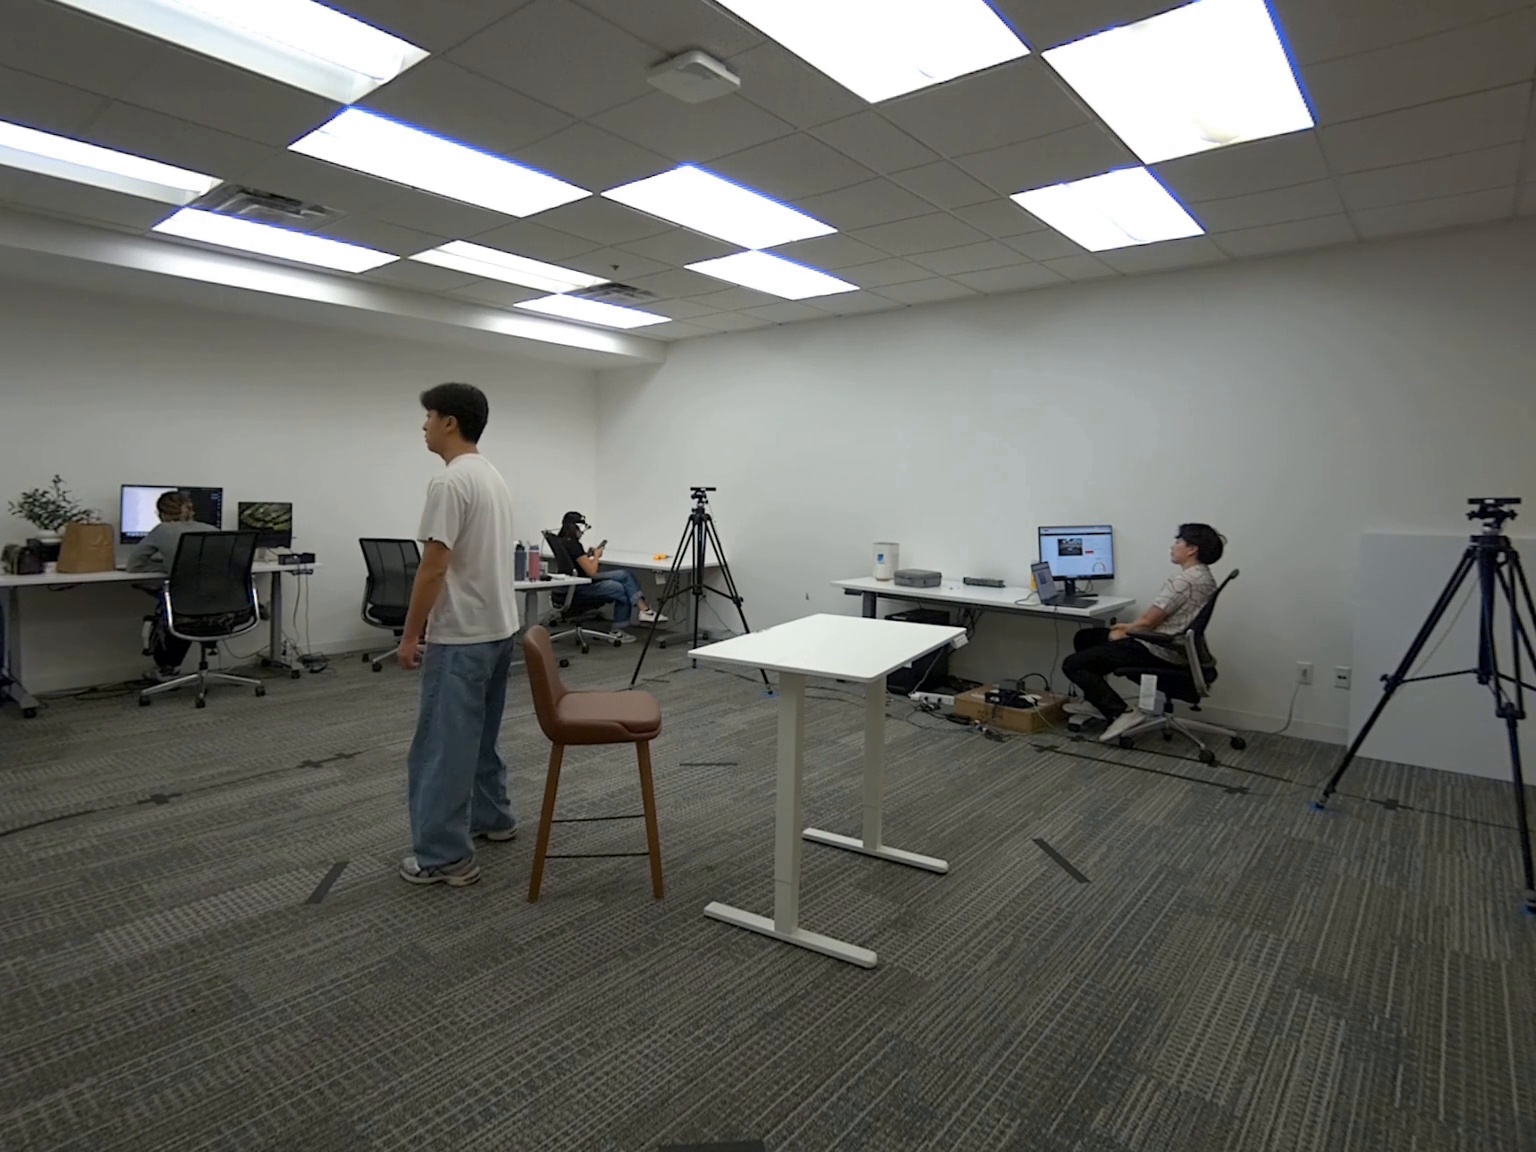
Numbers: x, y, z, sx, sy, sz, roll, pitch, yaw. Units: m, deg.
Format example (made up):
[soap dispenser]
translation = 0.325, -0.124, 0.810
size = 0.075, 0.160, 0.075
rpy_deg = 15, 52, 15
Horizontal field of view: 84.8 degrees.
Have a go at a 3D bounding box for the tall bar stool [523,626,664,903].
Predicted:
[tall bar stool]
translation = -0.624, 0.632, 3.024
size = 0.463, 0.887, 0.463
rpy_deg = -1, 3, -11
